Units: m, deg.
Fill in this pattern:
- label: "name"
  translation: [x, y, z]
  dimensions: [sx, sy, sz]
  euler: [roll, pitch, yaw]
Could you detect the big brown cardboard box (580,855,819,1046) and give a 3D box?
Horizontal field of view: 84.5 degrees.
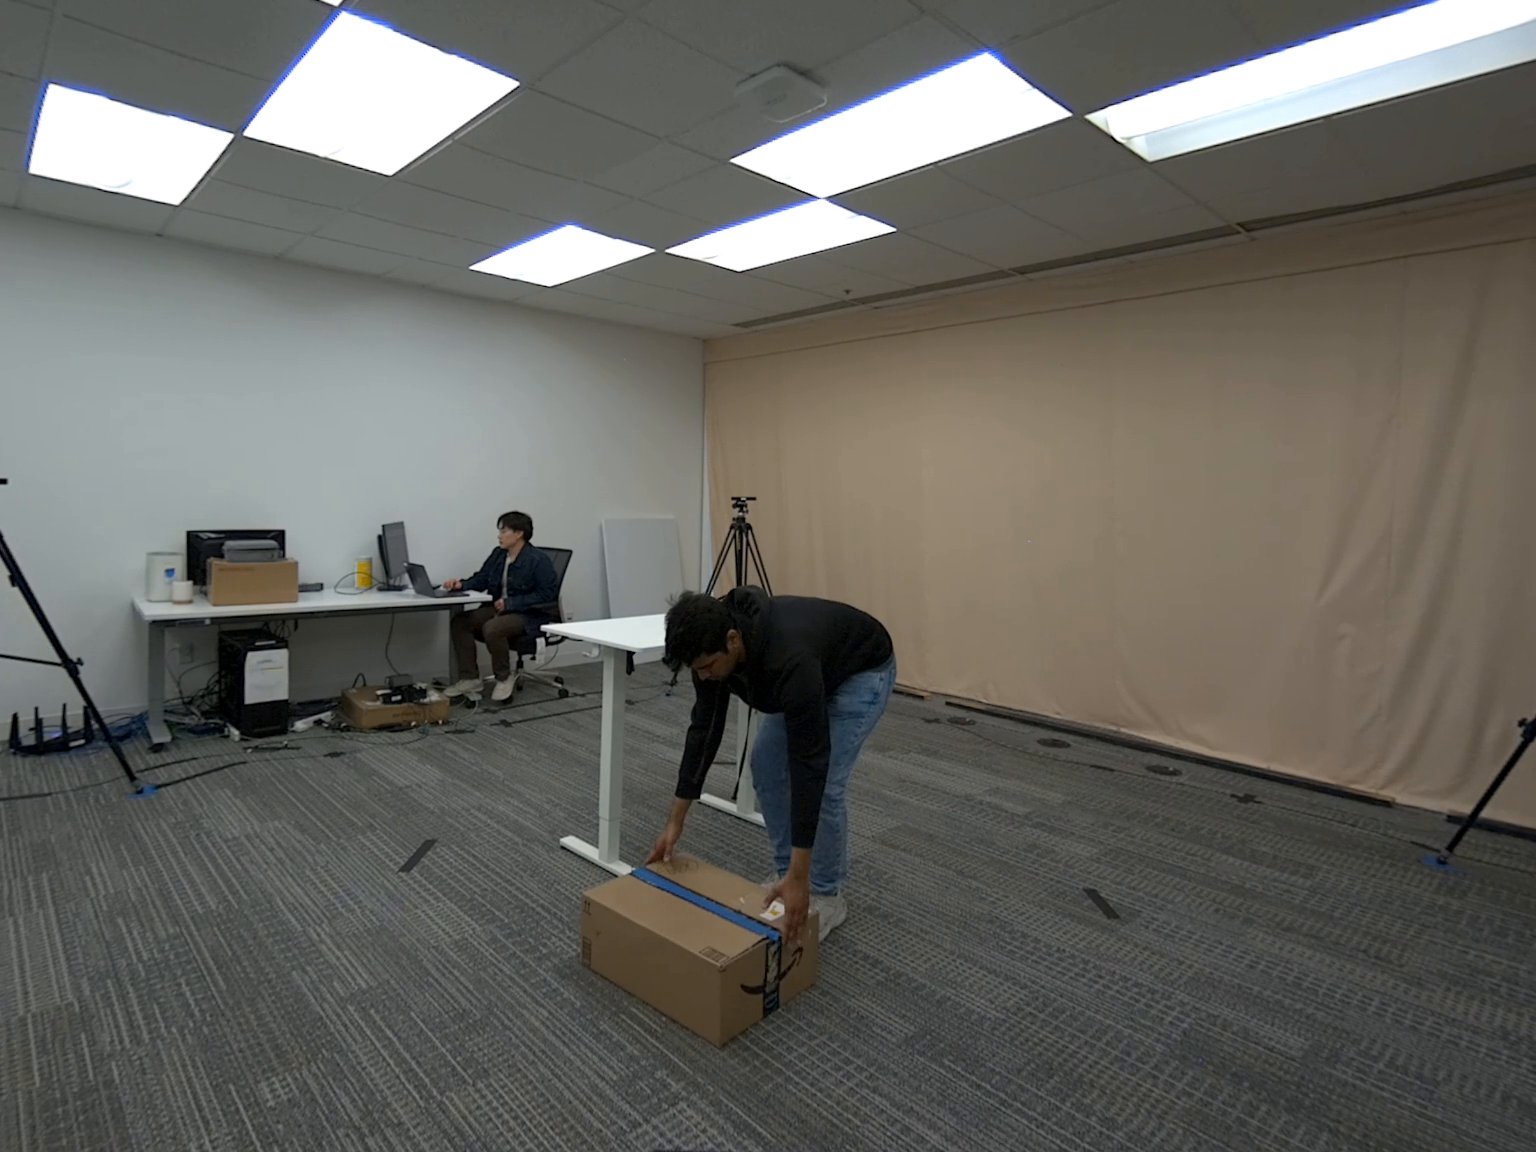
- label: "big brown cardboard box"
  translation: [-0.208, 1.053, 2.451]
  dimensions: [0.604, 0.232, 0.408]
  euler: [5, 5, 40]
